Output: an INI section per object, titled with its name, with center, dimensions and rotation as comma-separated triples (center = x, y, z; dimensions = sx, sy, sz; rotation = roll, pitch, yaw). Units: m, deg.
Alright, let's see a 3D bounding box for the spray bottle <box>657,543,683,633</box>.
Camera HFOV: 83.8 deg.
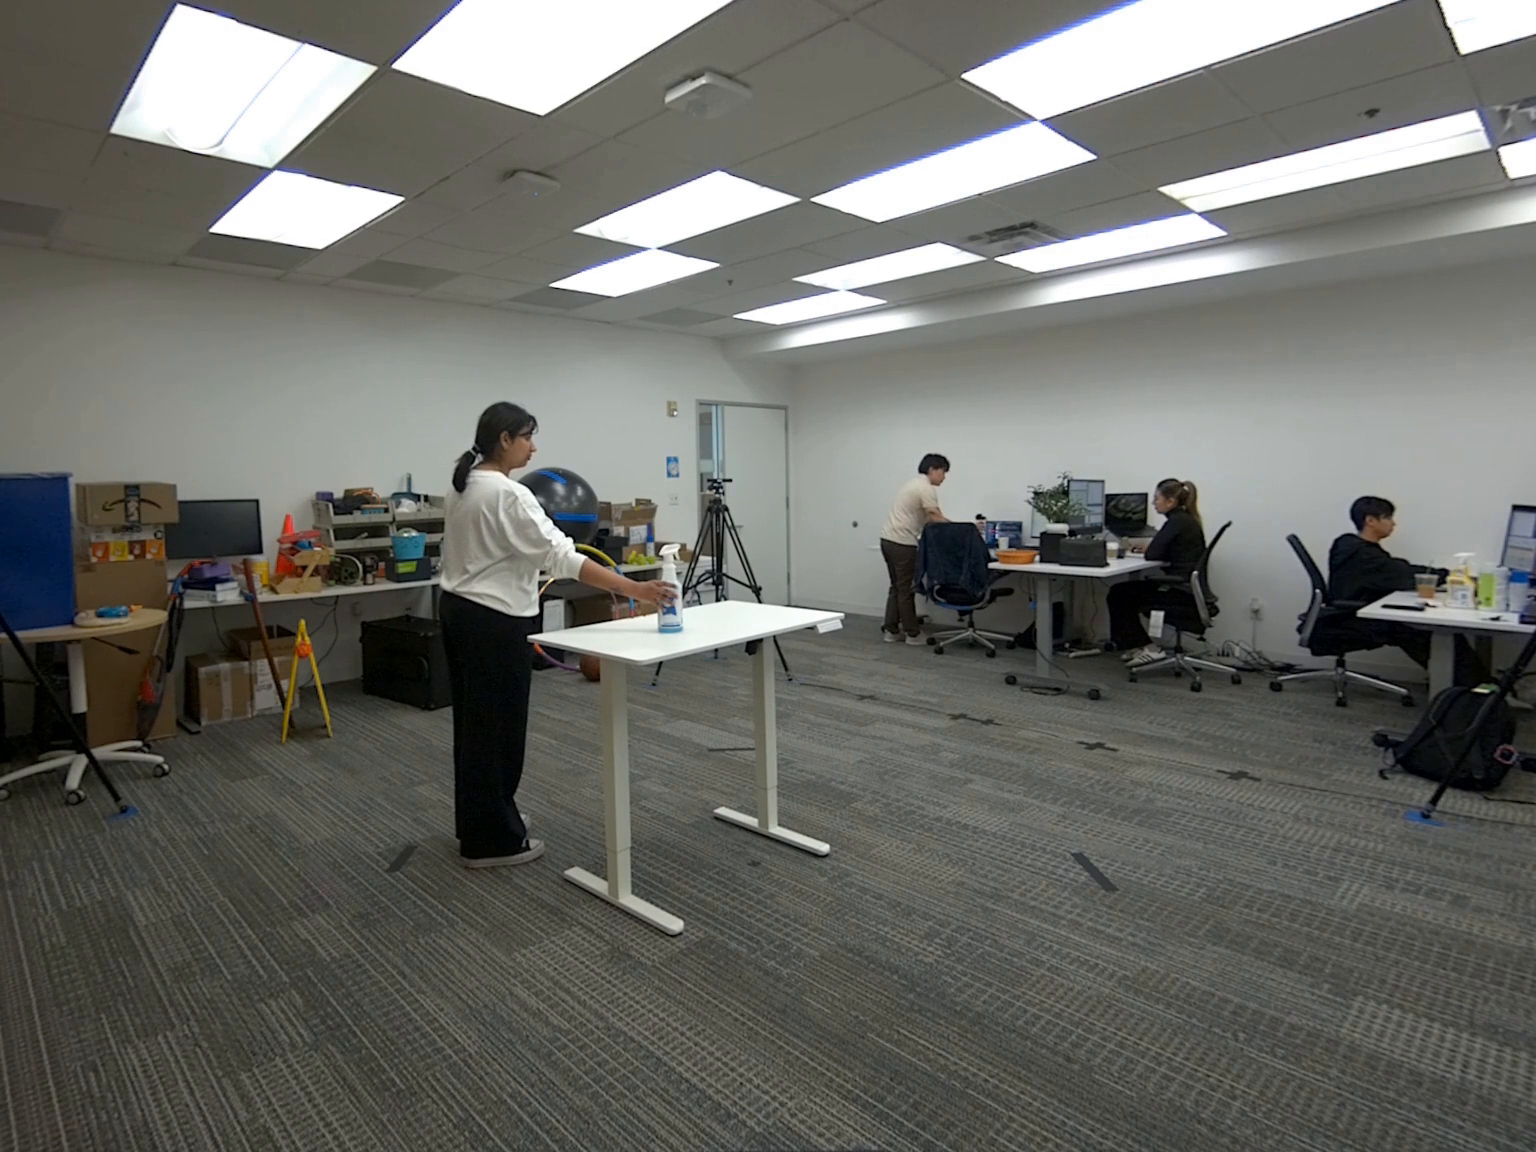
[spray bottle]
center = -0.342, 0.044, 2.928
dimensions = 0.088, 0.297, 0.089
rotation = -2, 2, -24
